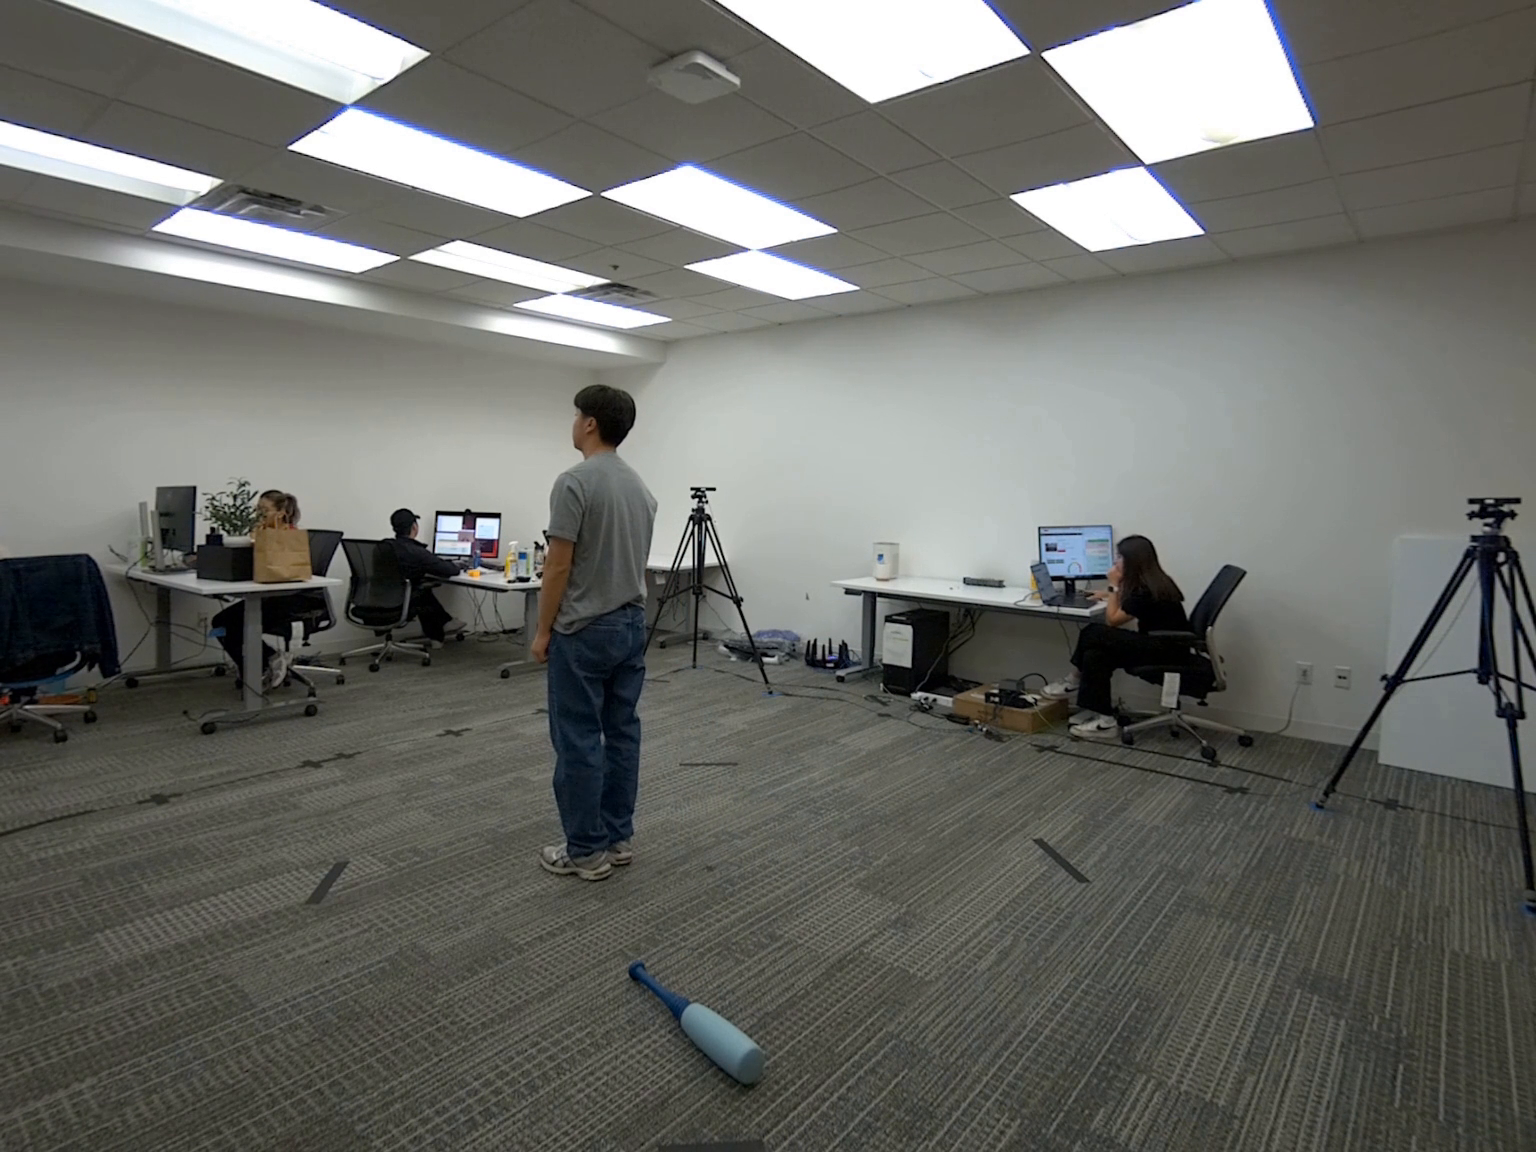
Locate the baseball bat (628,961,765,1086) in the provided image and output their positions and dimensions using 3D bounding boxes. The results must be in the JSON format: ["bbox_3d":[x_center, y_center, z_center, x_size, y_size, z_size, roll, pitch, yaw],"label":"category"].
[{"bbox_3d":[-0.216,1.127,2.183,0.086,0.089,0.560,-2,3,-38],"label":"baseball bat"}]
